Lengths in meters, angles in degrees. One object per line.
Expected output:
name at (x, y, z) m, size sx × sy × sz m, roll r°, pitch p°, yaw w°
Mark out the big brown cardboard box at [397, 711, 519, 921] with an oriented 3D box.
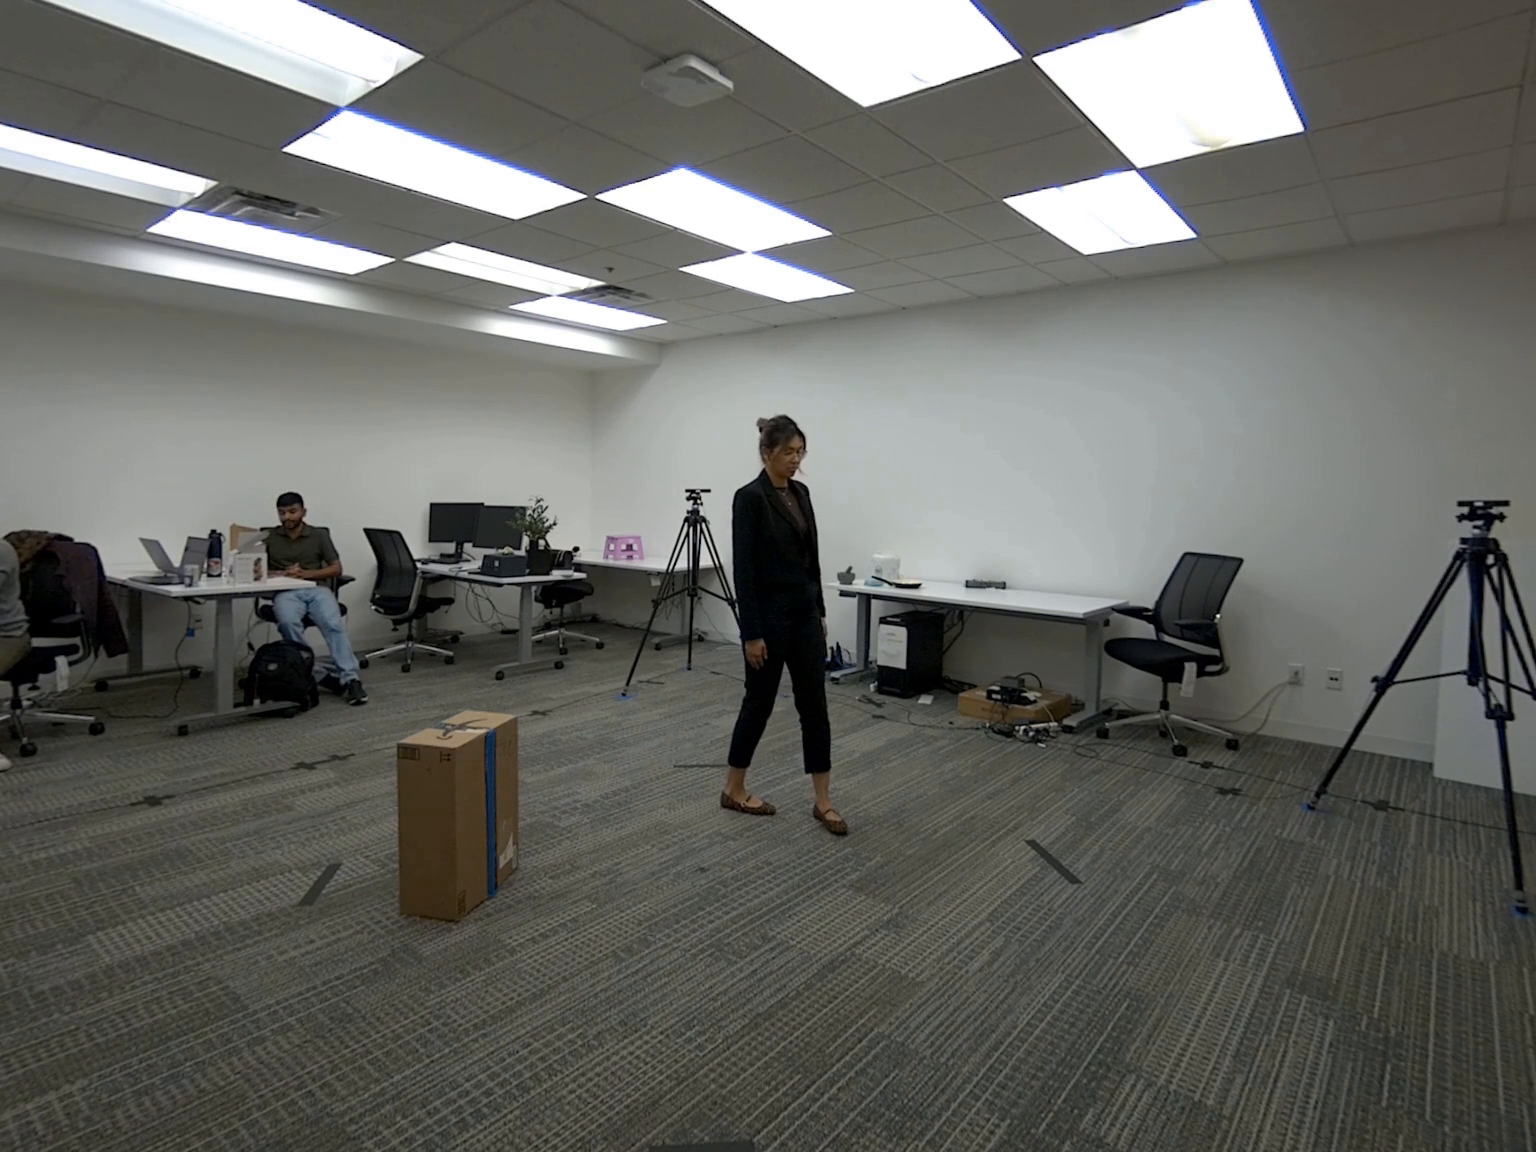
big brown cardboard box at (-1.058, 0.801, 2.904) m, size 0.236 × 0.586 × 0.413 m, roll 1°, pitch 5°, yaw 12°
